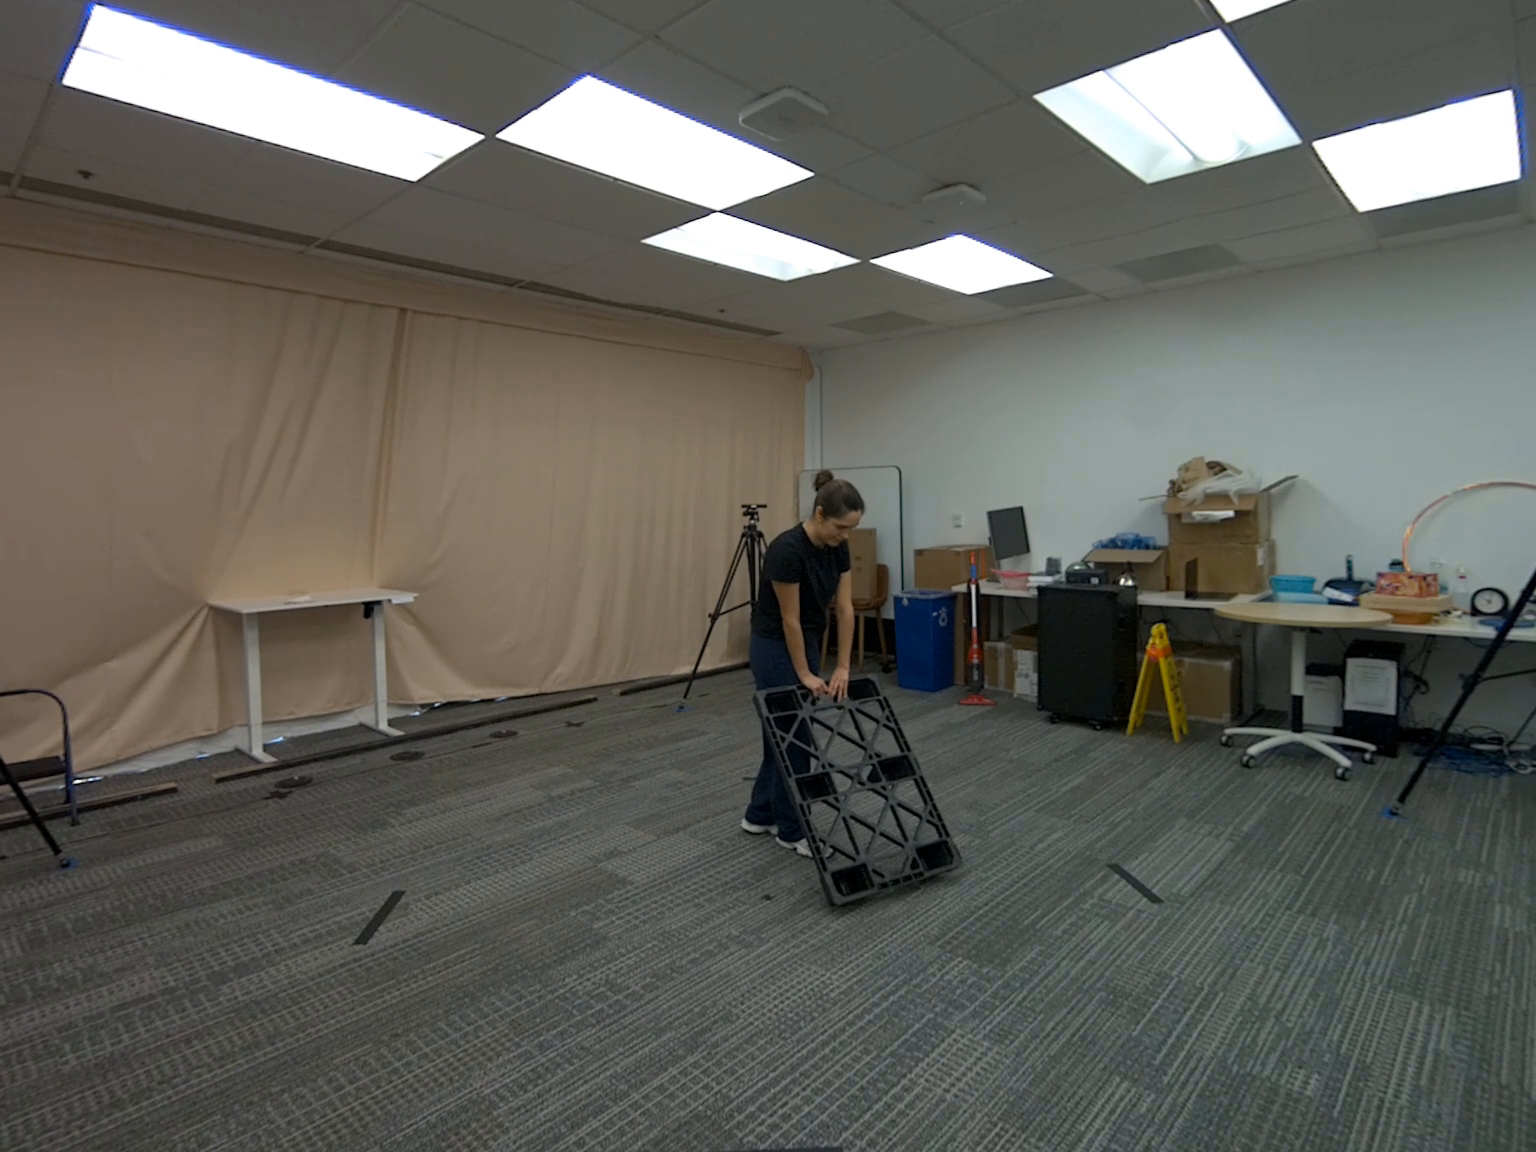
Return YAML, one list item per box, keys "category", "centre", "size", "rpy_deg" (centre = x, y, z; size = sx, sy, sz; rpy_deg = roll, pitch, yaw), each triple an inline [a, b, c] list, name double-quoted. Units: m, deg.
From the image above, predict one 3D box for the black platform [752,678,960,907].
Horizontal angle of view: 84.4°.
- category: "black platform"
  centre: [0.328, 0.787, 3.192]
  size: [0.589, 0.825, 0.143]
  rpy_deg: [-4, -33, -30]
